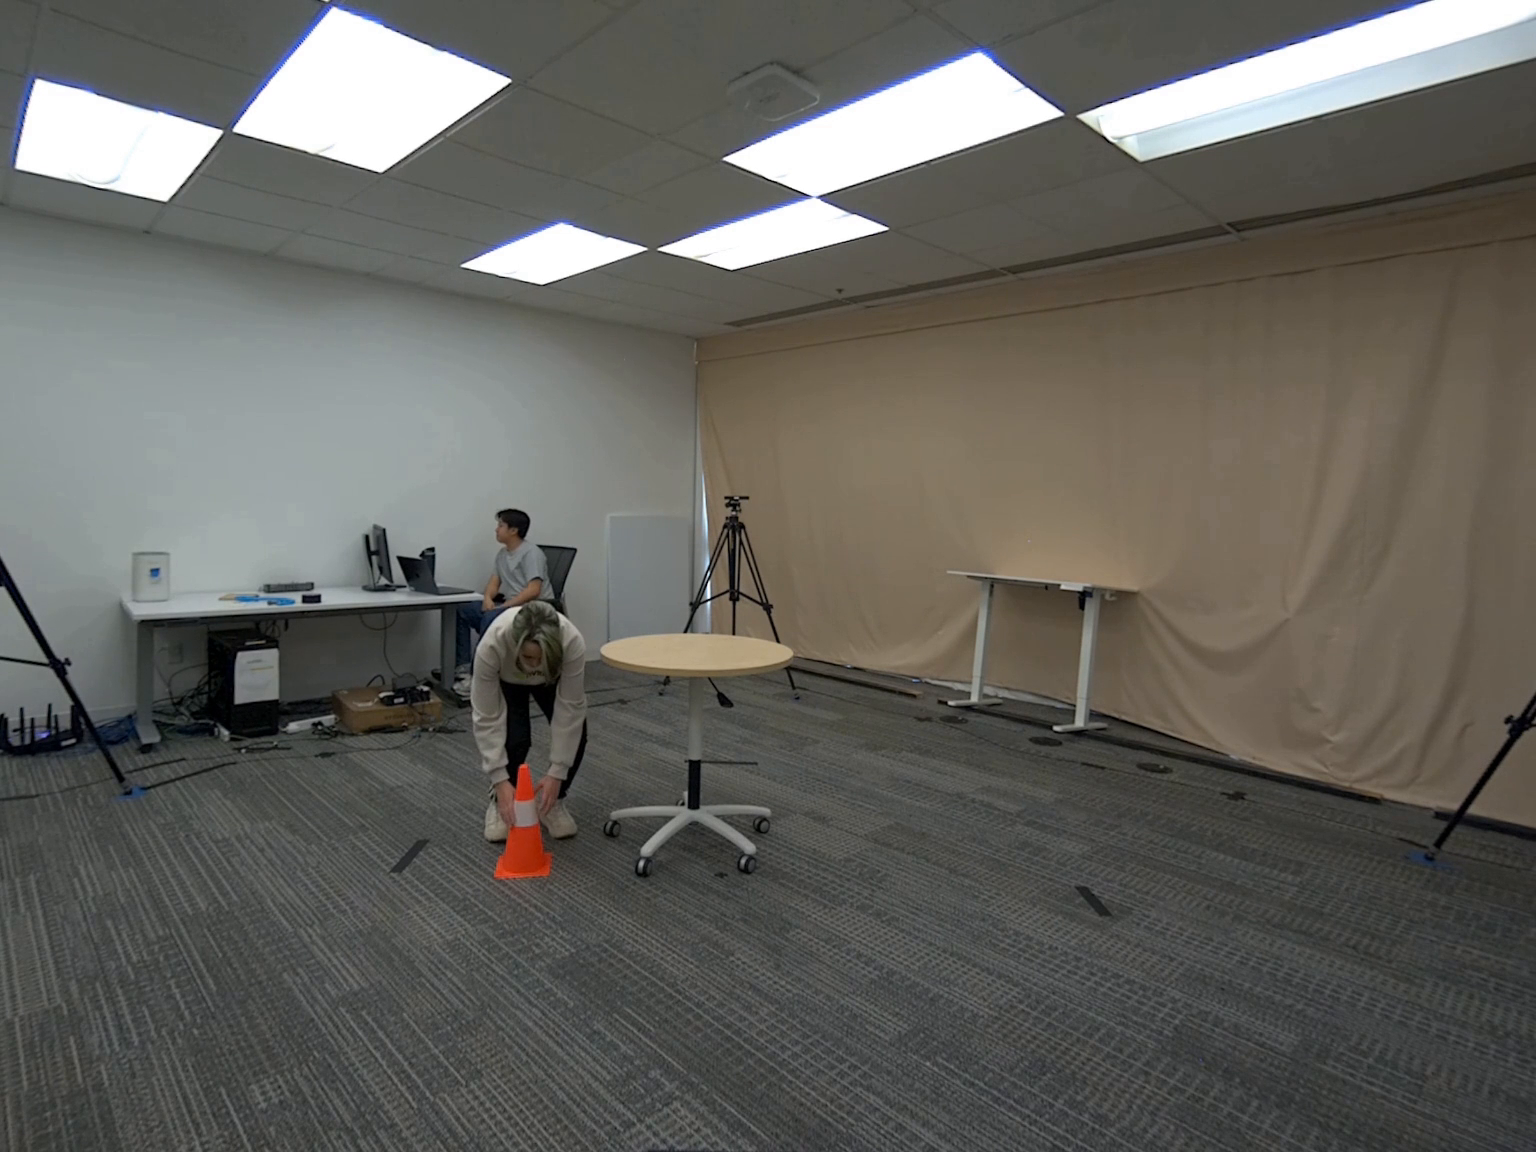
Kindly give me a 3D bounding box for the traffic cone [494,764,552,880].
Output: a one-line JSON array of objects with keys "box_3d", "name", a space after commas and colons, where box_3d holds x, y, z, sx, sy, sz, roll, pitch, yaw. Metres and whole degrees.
[{"box_3d": [-0.926, 0.900, 3.139, 0.204, 0.383, 0.205, 0, 4, -7], "name": "traffic cone"}]
